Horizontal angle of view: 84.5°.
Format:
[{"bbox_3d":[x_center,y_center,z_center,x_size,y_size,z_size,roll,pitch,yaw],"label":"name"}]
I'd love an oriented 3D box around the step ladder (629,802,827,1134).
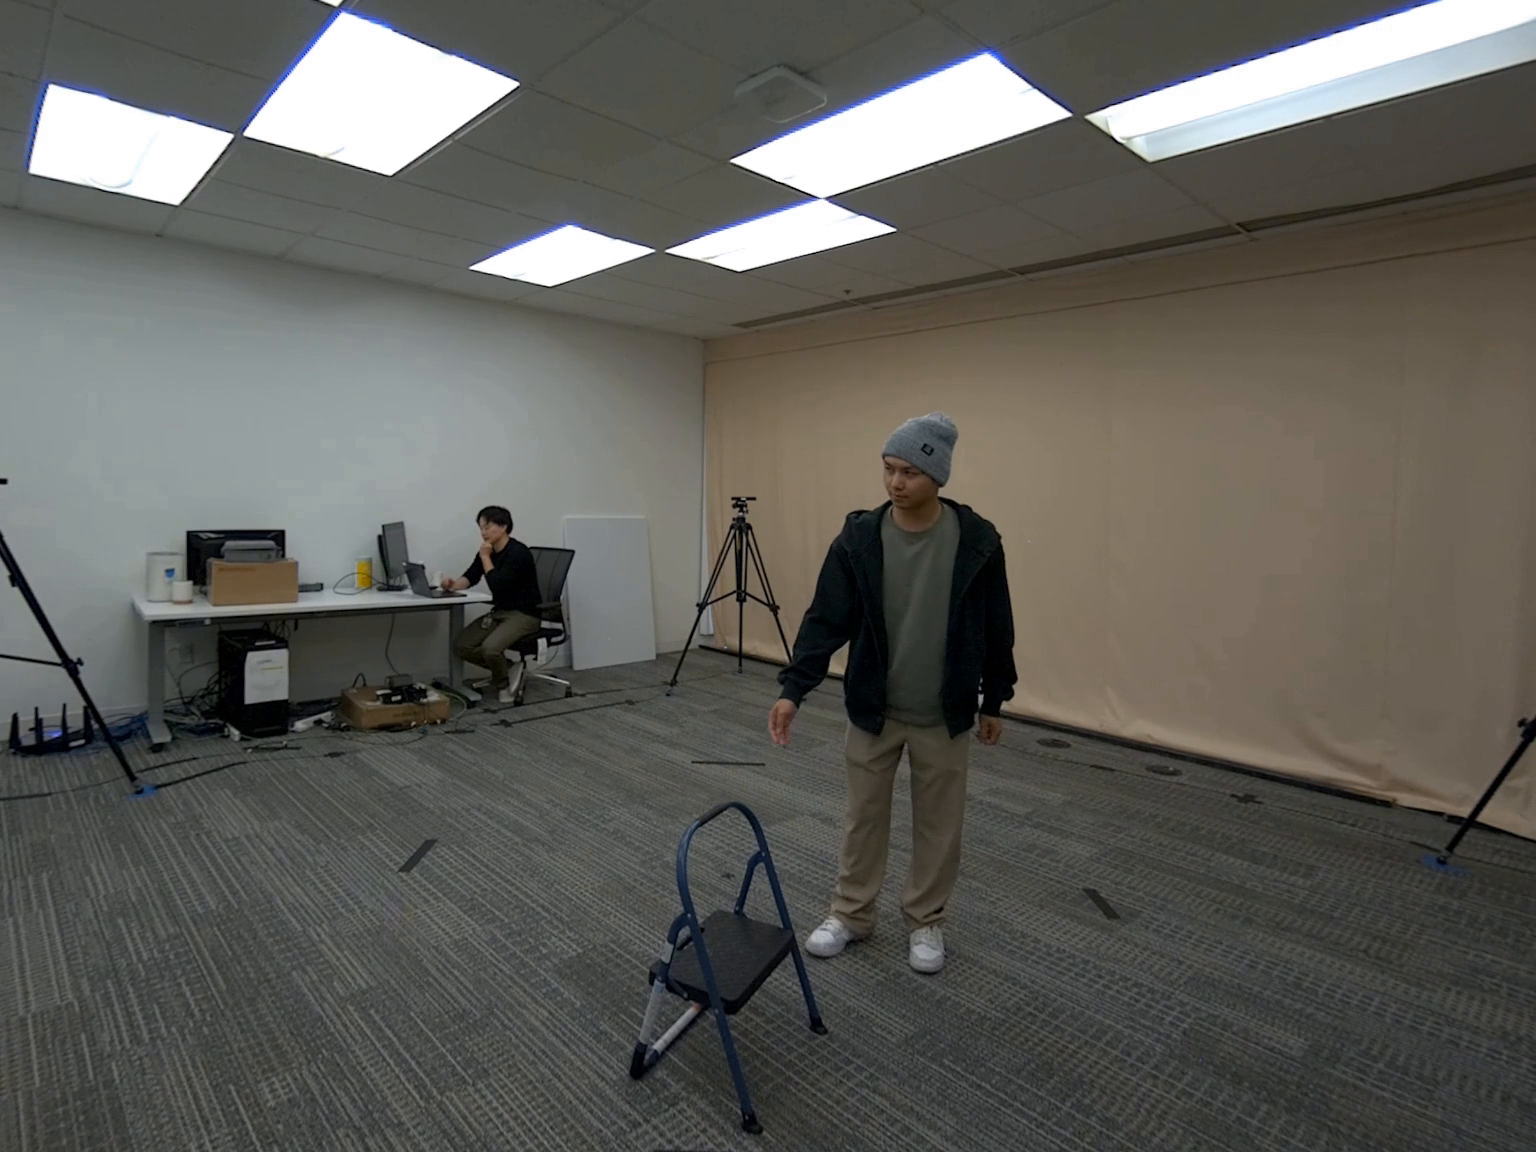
[{"bbox_3d":[-0.095,0.904,2.089,0.356,0.604,0.423,3,4,26],"label":"step ladder"}]
